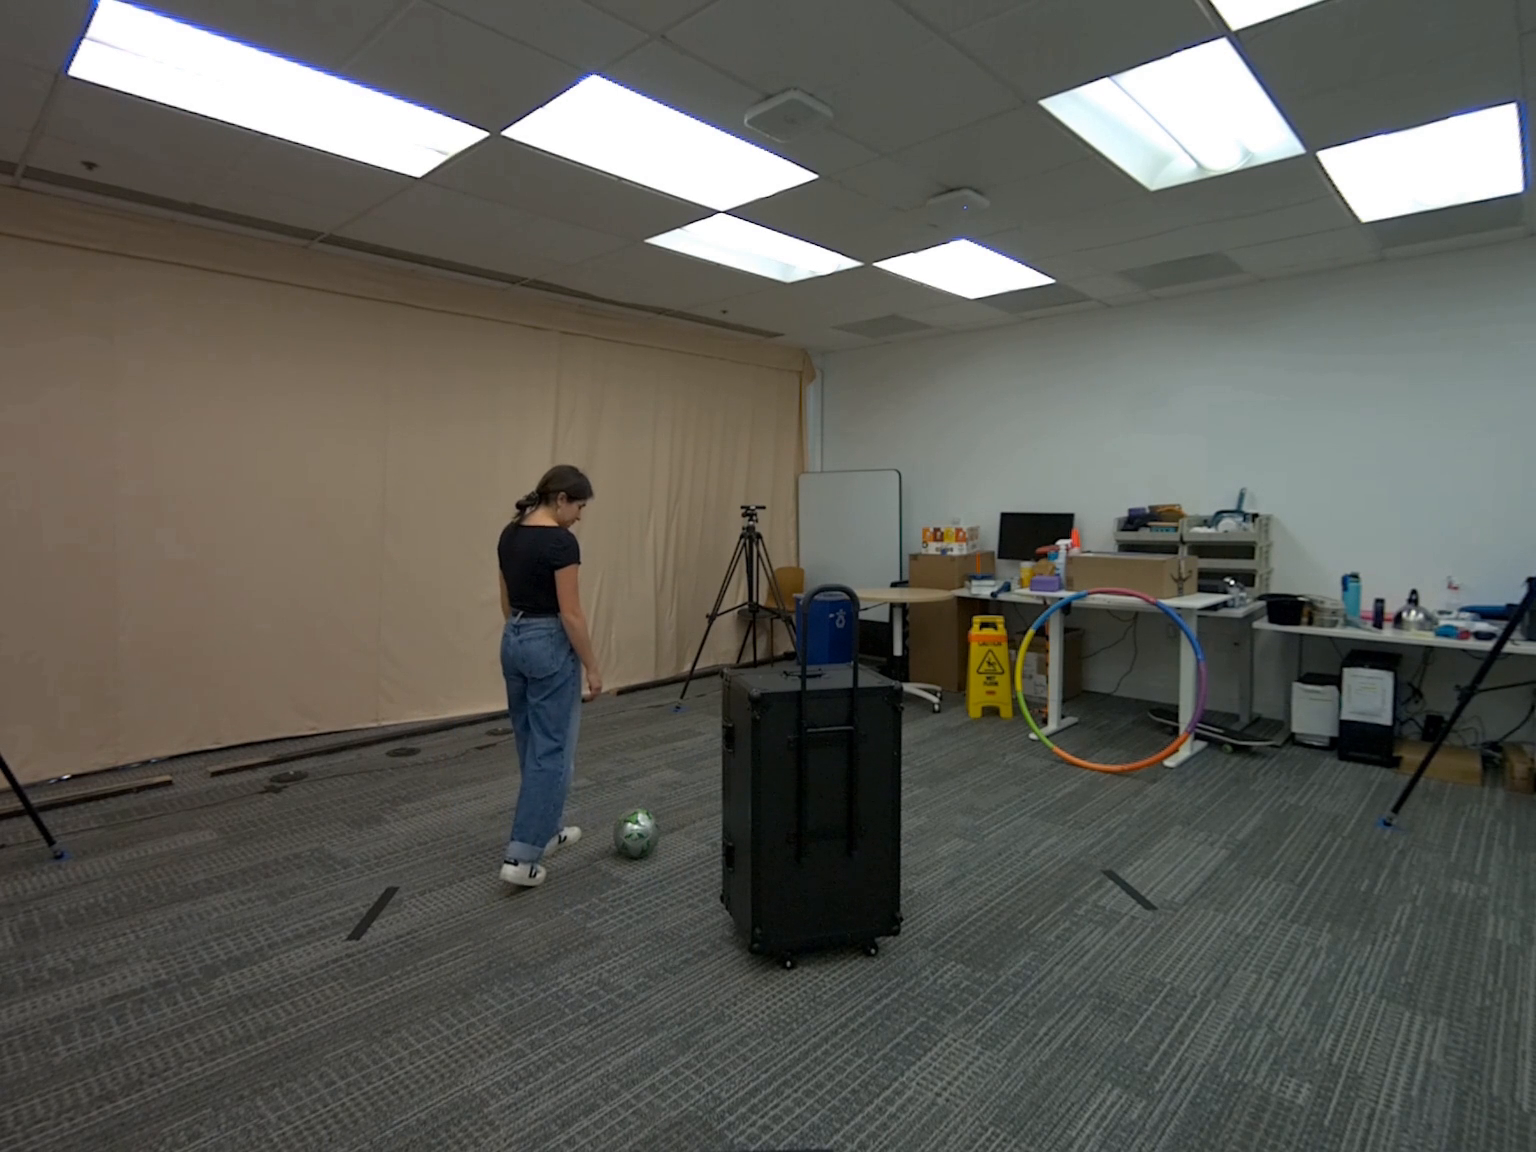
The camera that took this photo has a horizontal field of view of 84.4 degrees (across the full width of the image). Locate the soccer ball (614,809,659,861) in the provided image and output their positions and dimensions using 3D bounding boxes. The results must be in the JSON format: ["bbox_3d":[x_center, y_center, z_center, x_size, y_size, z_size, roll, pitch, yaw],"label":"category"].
[{"bbox_3d":[-0.517,1.028,3.356,0.187,0.187,0.188,0,4,-2],"label":"soccer ball"}]
